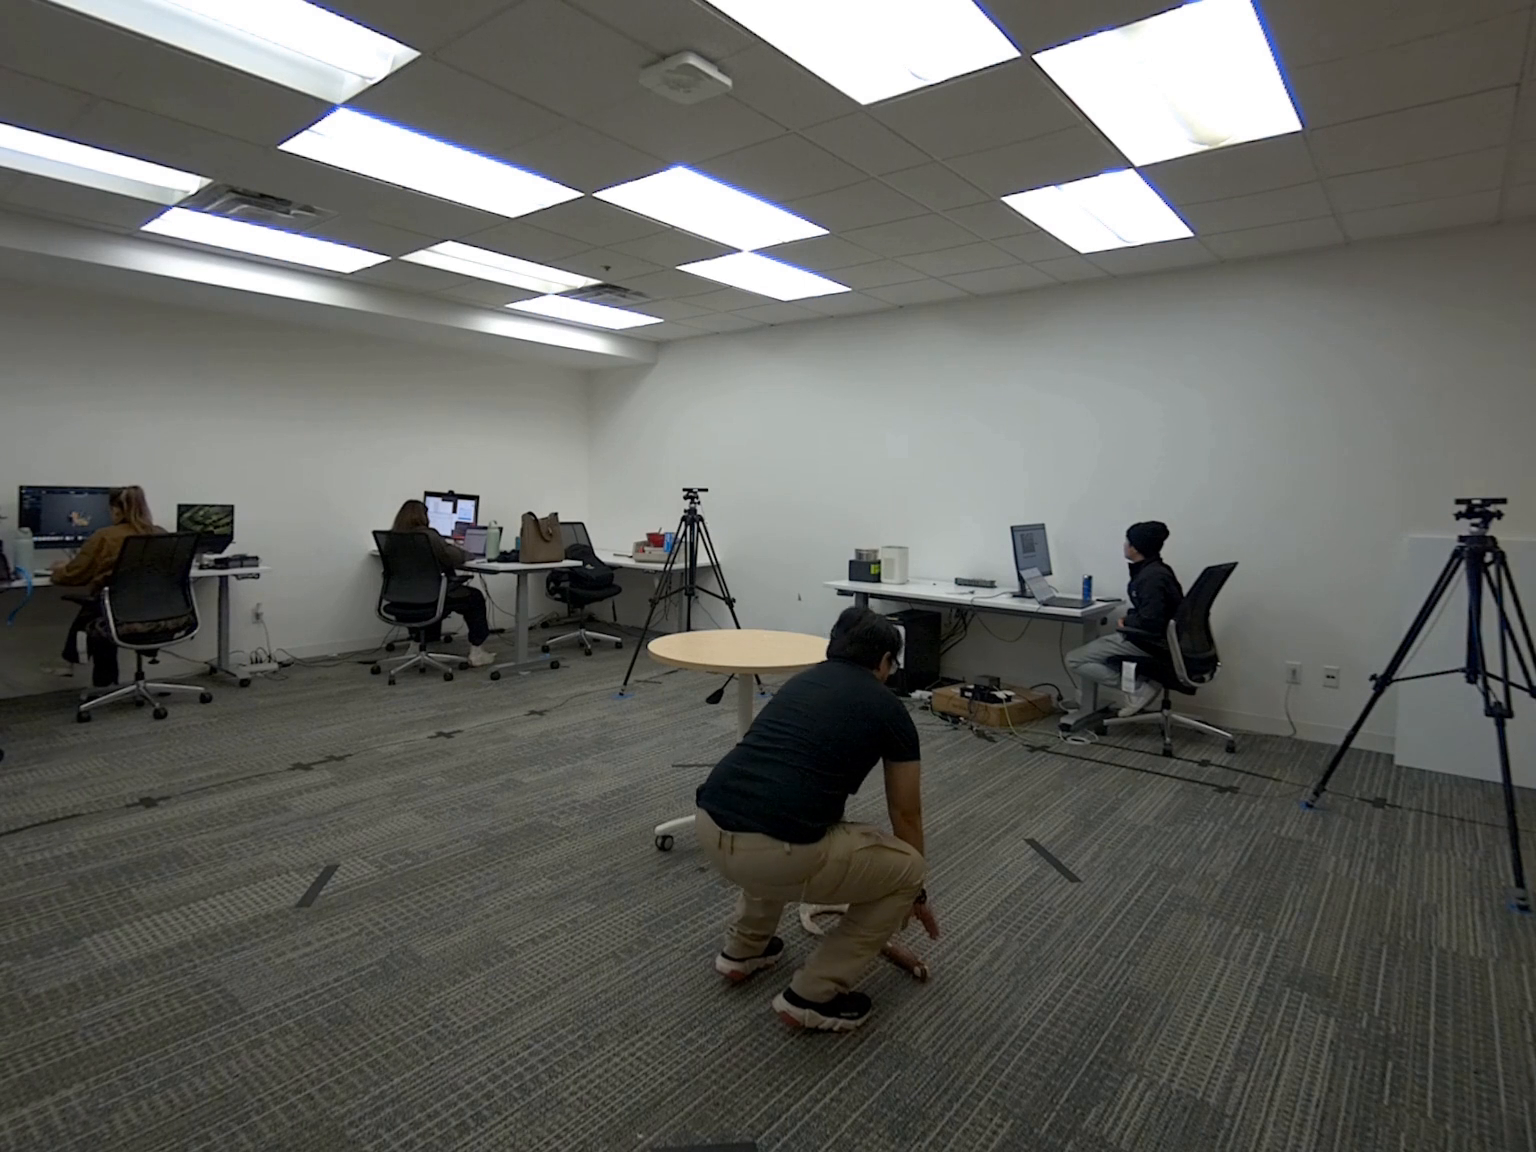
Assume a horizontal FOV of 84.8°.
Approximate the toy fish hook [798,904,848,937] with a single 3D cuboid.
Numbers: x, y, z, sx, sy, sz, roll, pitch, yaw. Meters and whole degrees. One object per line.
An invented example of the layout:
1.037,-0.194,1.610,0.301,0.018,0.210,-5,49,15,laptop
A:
0.269,1.105,2.622,0.219,0.048,0.522,-10,9,-29,toy fish hook
